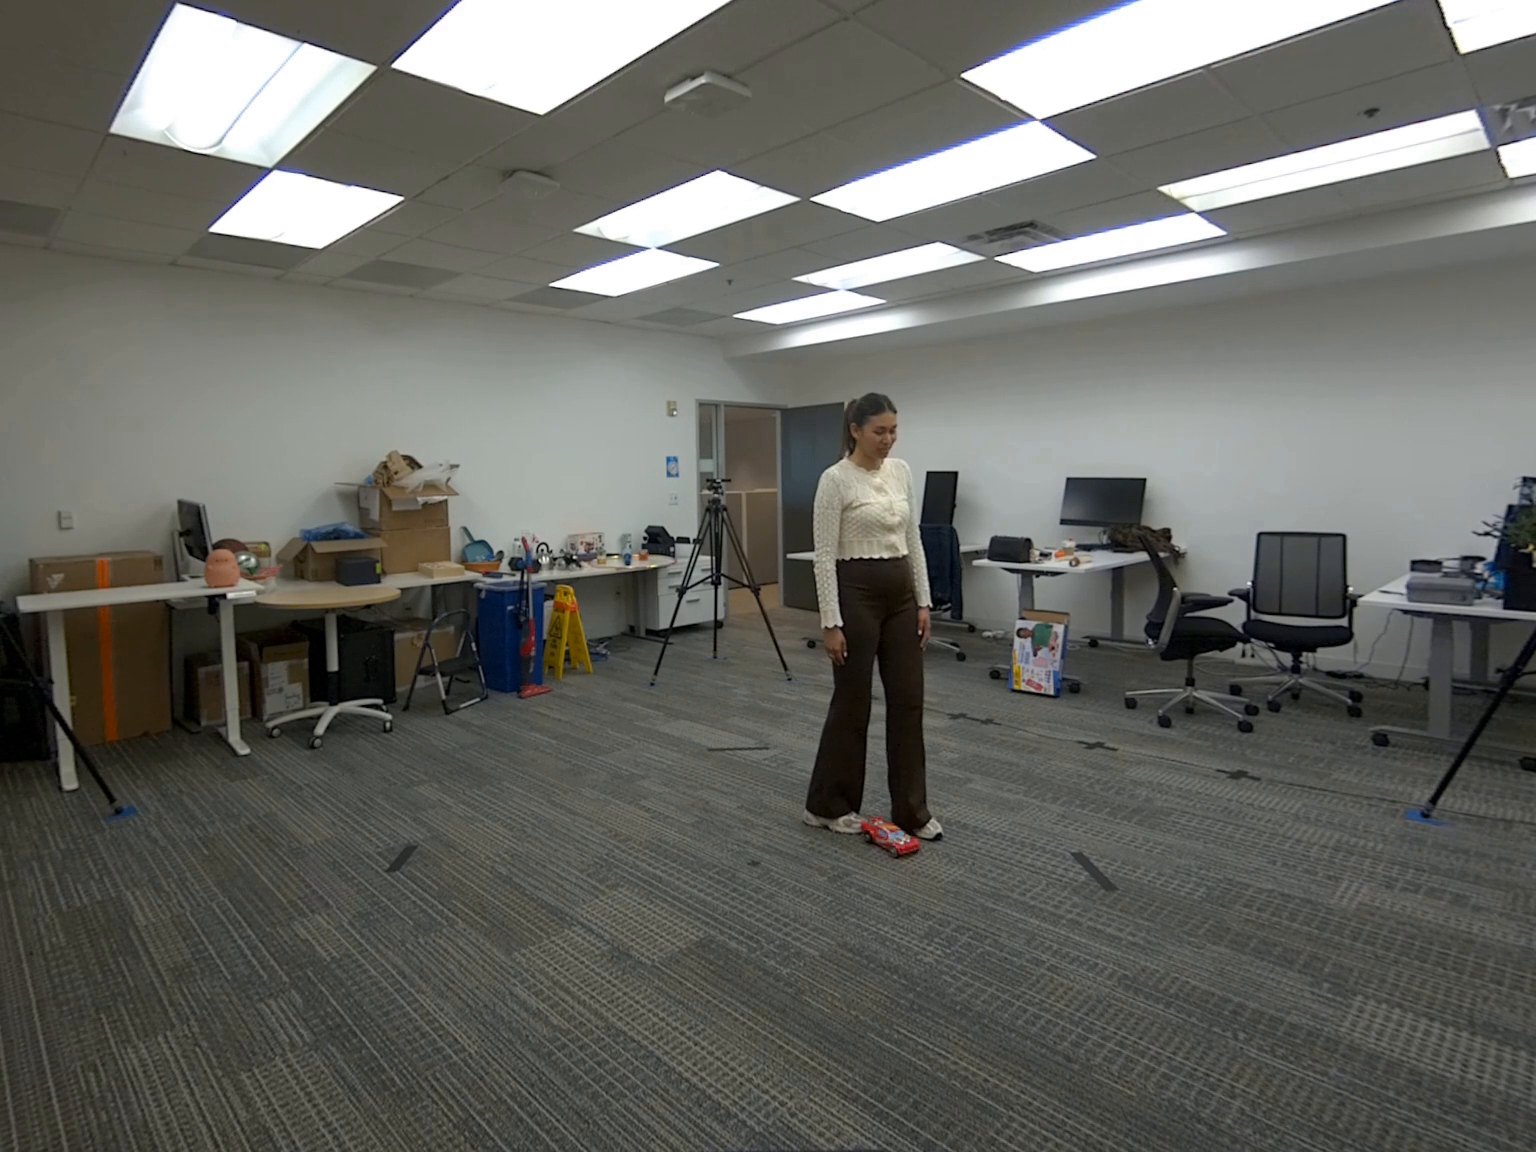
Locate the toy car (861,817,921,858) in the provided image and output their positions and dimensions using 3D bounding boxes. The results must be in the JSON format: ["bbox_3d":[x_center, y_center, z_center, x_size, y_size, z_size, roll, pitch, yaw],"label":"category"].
[{"bbox_3d":[0.458,0.993,3.235,0.127,0.082,0.263,-3,15,-31],"label":"toy car"}]
